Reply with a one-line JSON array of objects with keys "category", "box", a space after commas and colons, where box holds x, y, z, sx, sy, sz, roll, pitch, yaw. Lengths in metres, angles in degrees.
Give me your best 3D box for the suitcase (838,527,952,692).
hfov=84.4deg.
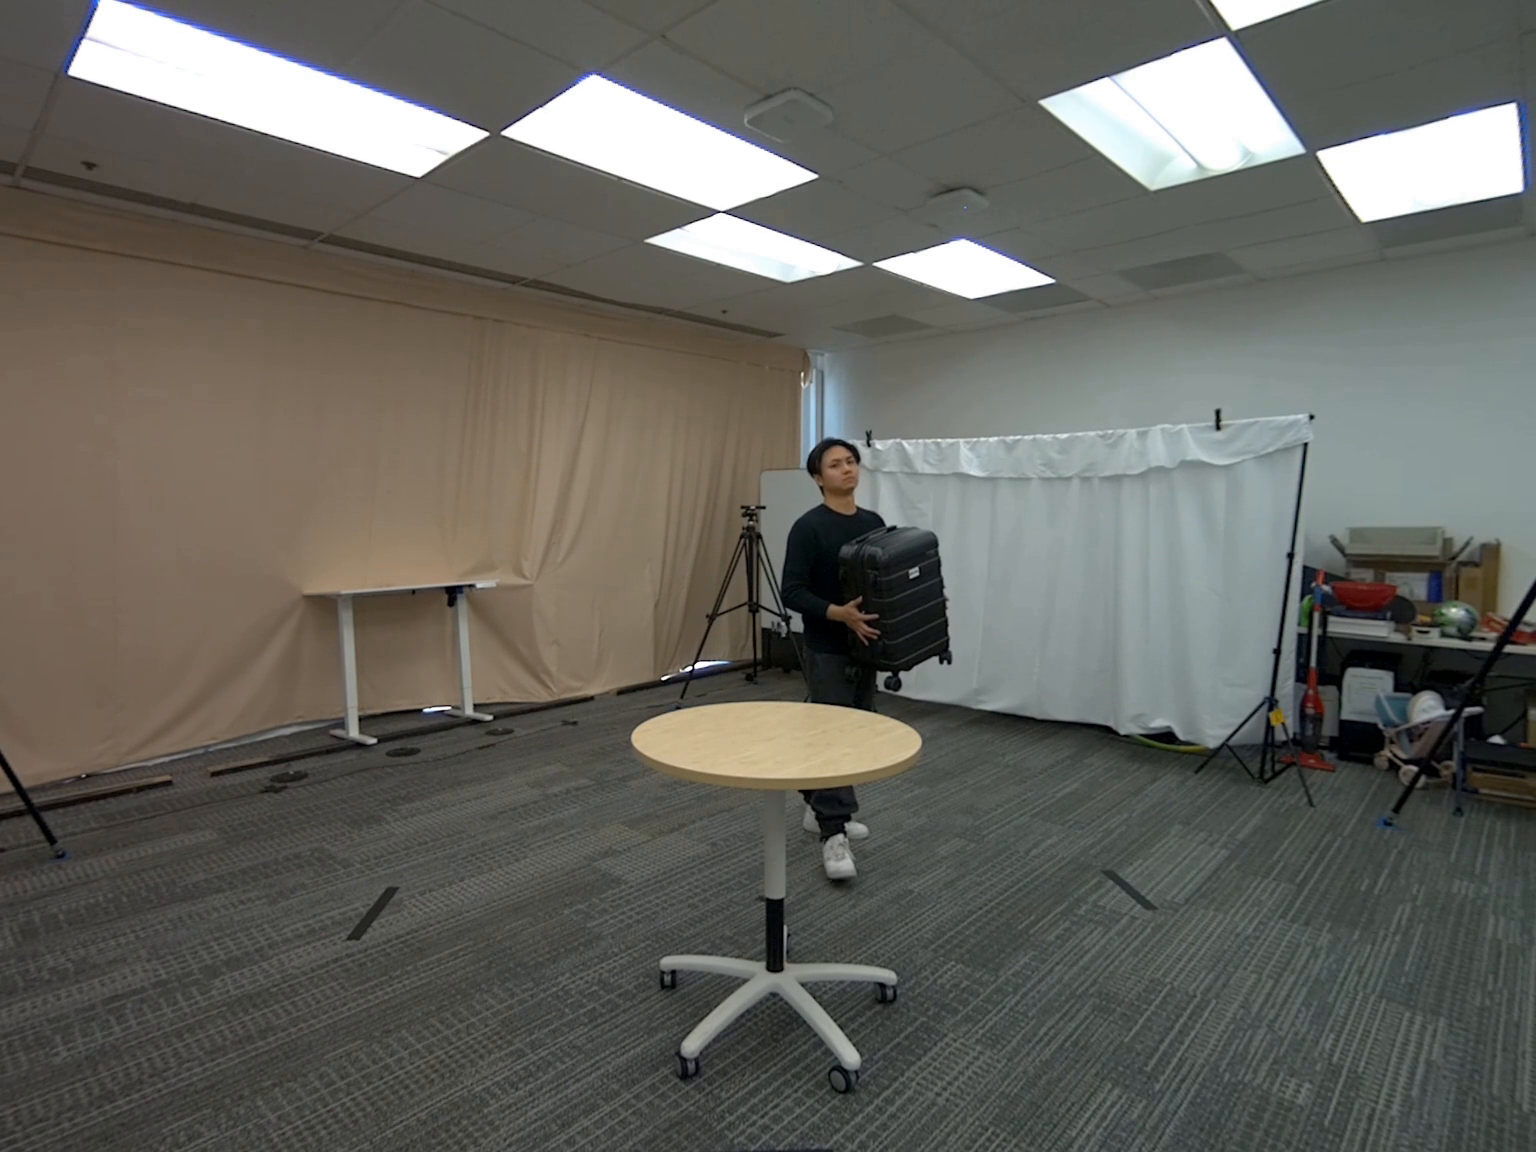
[{"category": "suitcase", "box": [0.482, 0.097, 3.201, 0.366, 0.544, 0.257, -17, 15, -37]}]
